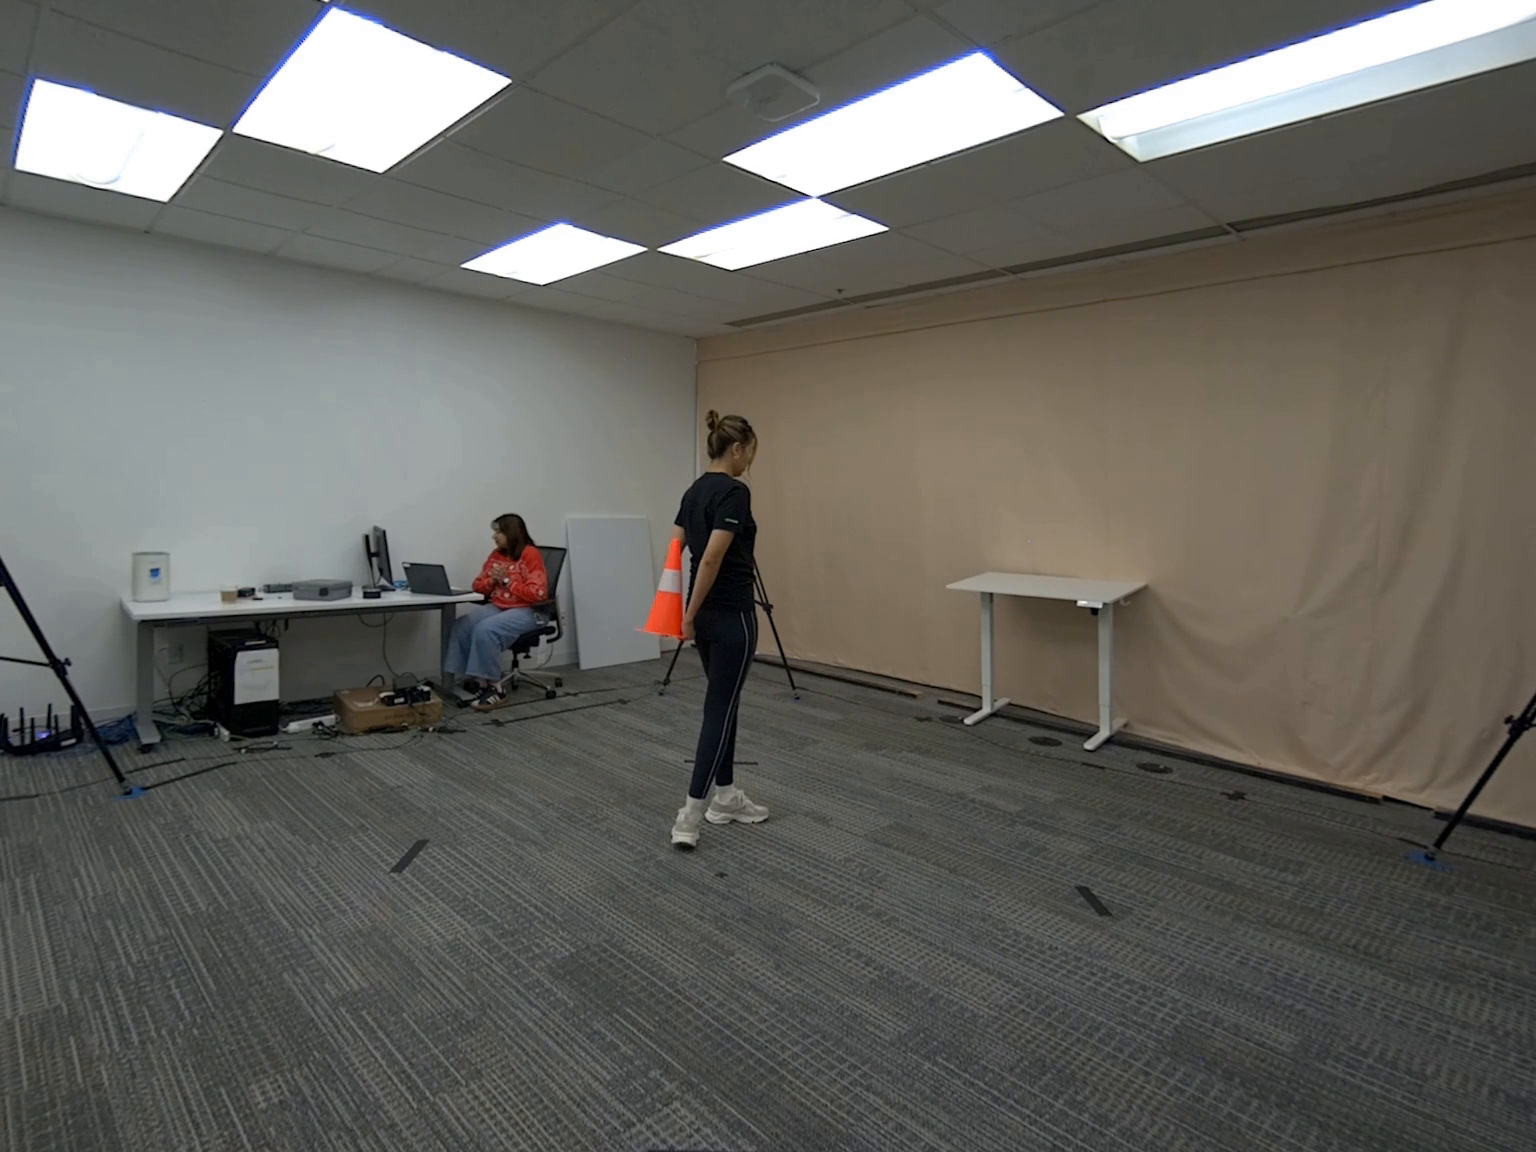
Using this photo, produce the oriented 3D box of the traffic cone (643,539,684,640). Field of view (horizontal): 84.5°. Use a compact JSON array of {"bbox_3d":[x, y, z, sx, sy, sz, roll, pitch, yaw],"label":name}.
[{"bbox_3d":[-0.400,0.041,3.418,0.207,0.384,0.201,6,-2,9],"label":"traffic cone"}]
